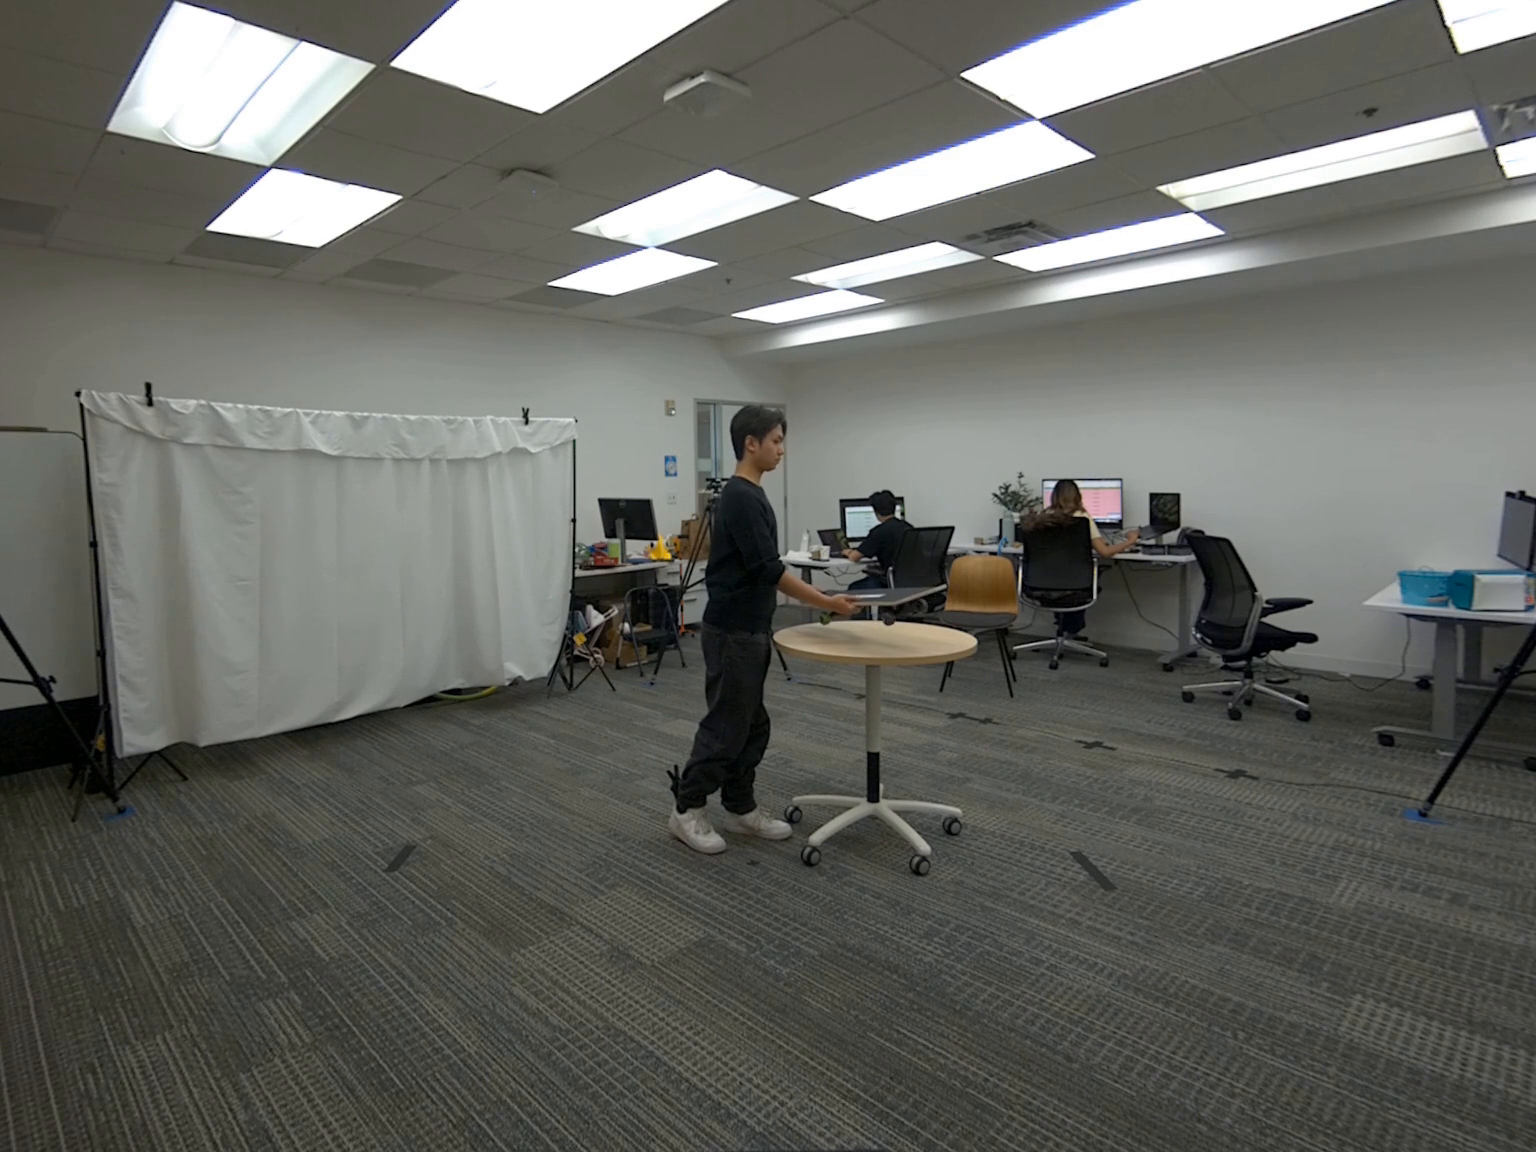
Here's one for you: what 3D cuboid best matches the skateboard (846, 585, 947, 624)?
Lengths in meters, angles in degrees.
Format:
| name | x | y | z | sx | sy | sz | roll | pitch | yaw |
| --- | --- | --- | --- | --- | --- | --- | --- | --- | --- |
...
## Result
| name | x | y | z | sx | sy | sz | roll | pitch | yaw |
| --- | --- | --- | --- | --- | --- | --- | --- | --- | --- |
| skateboard | 0.367 | 0.114 | 3.190 | 0.190 | 0.110 | 0.801 | -14 | 4 | -28 |
